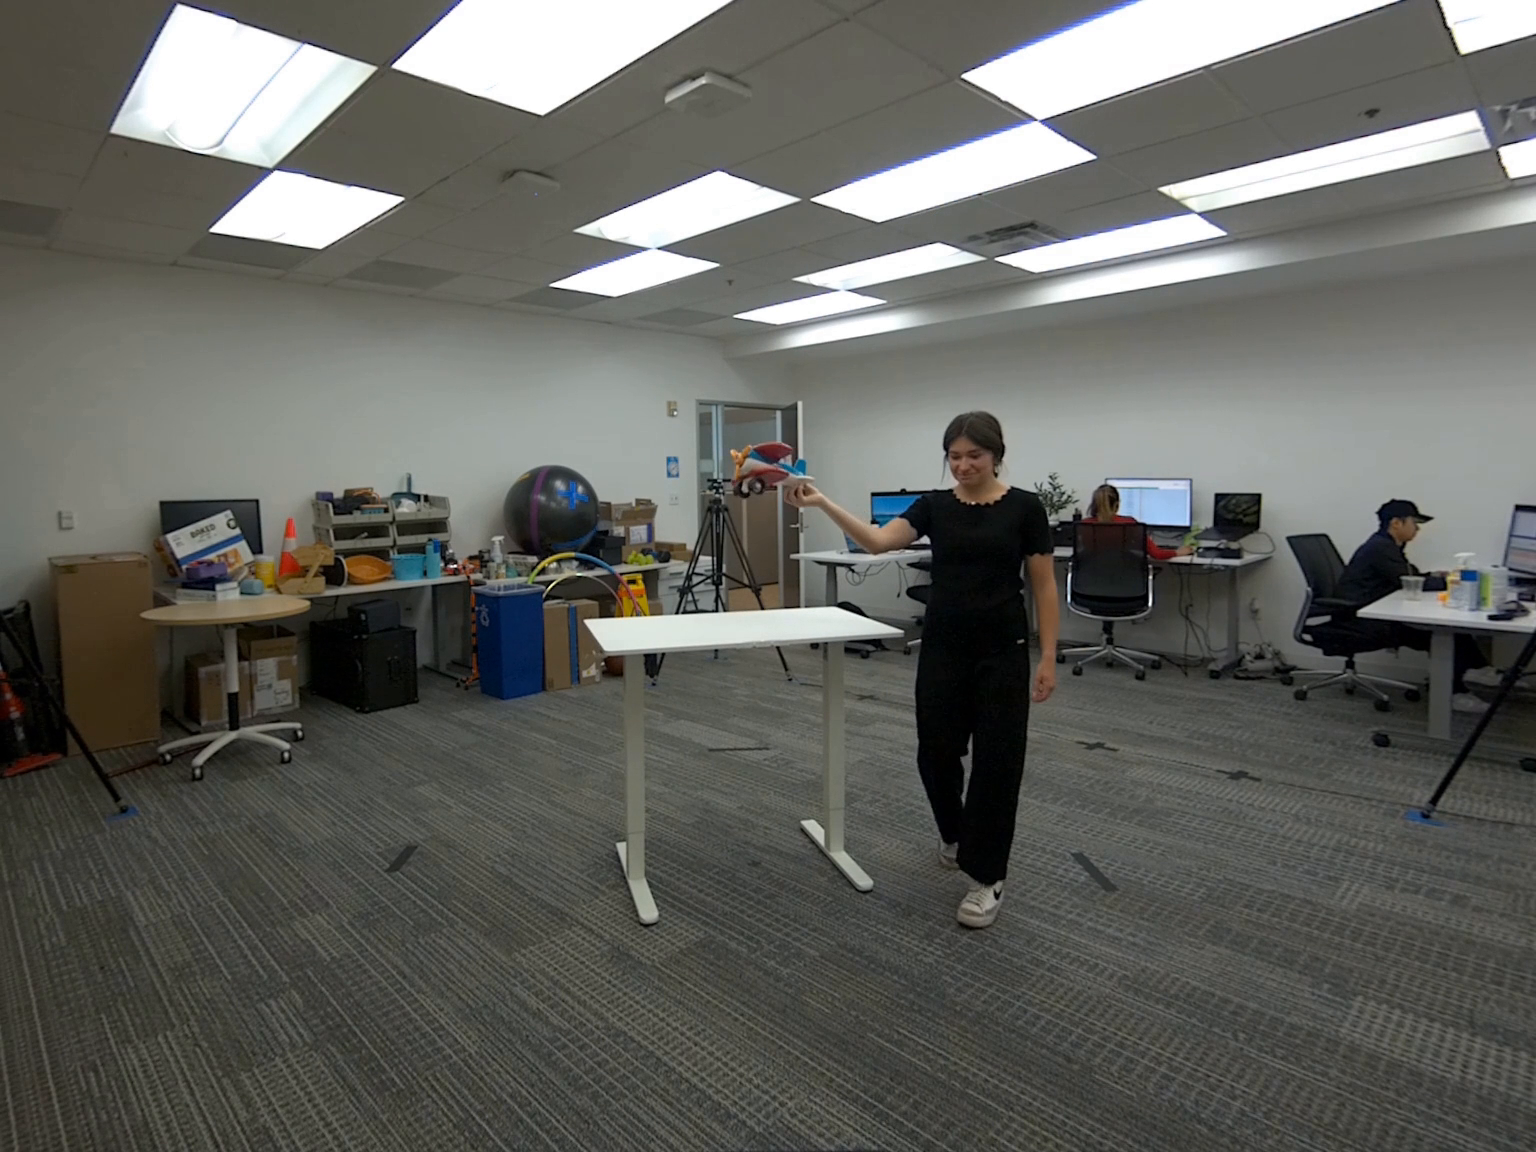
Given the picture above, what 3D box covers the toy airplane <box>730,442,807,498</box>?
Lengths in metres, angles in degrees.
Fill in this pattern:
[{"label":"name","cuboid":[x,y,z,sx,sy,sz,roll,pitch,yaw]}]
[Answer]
[{"label":"toy airplane","cuboid":[0.006,-0.322,2.668,0.257,0.157,0.252,-5,-4,30]}]
